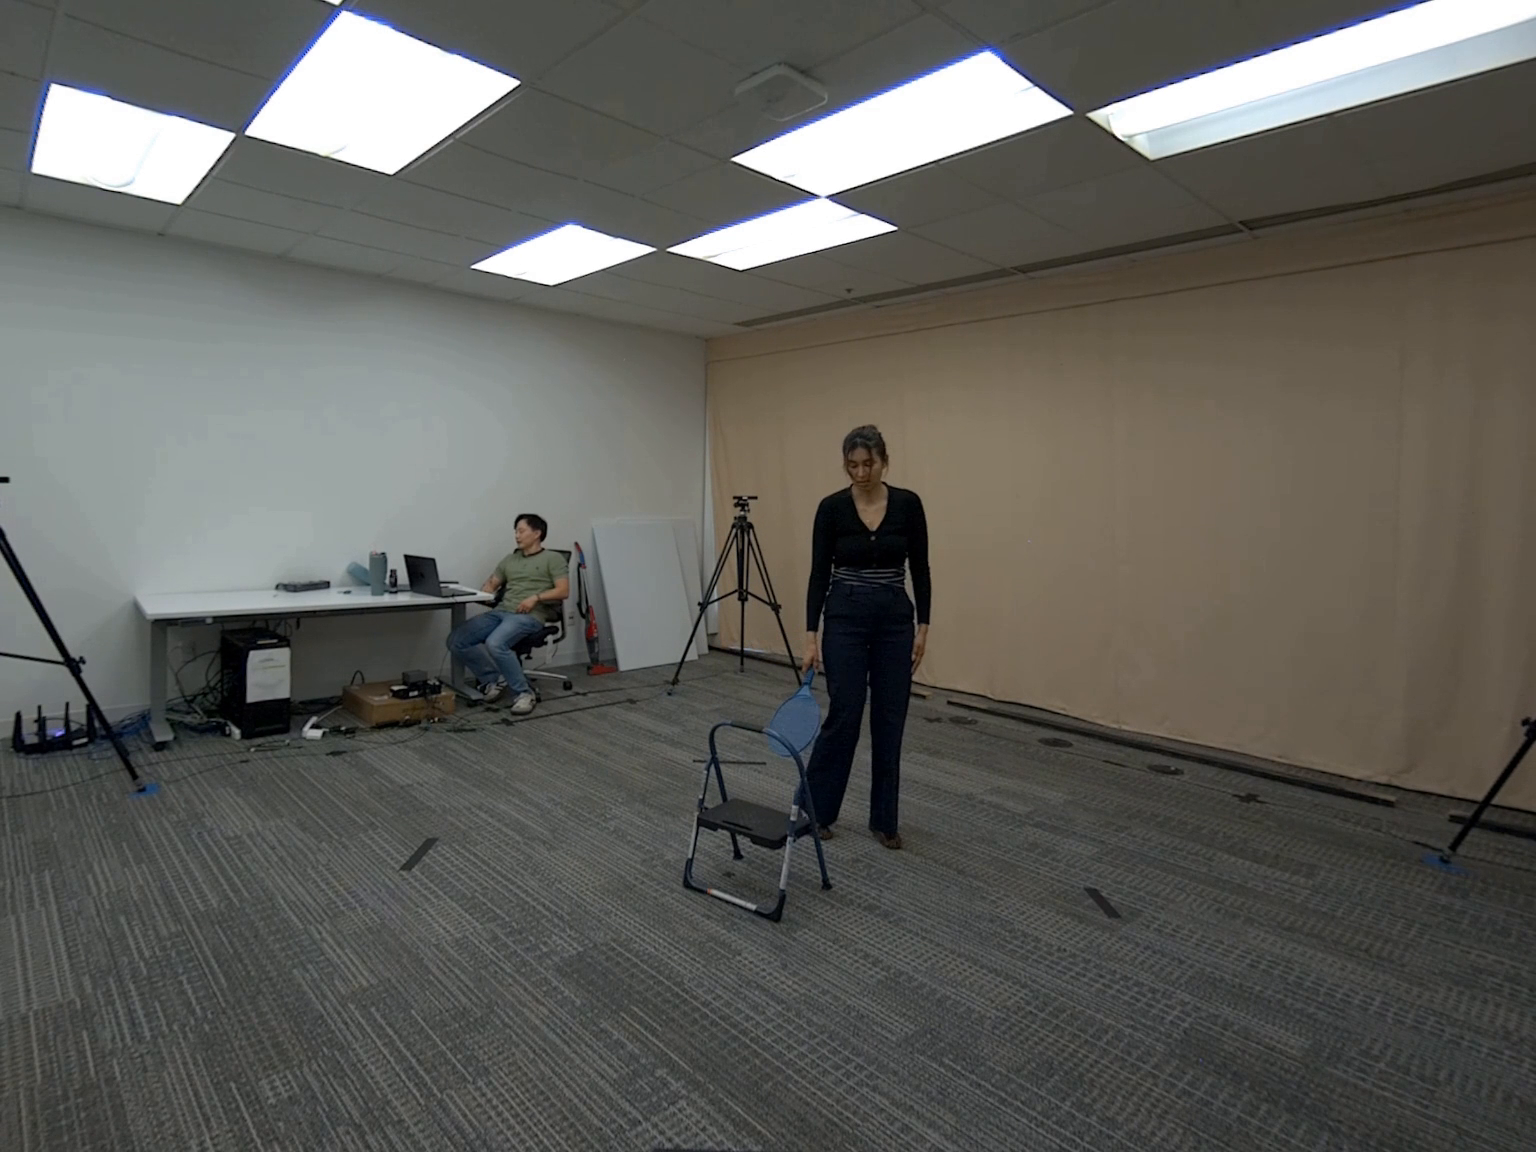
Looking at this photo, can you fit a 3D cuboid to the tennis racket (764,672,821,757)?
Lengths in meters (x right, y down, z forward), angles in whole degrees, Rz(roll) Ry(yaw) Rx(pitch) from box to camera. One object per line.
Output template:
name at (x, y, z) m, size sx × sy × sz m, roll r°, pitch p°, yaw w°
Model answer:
tennis racket at (0.119, 0.512, 3.291) m, size 0.218 × 0.437 × 0.031 m, roll 0°, pitch -37°, yaw 33°
